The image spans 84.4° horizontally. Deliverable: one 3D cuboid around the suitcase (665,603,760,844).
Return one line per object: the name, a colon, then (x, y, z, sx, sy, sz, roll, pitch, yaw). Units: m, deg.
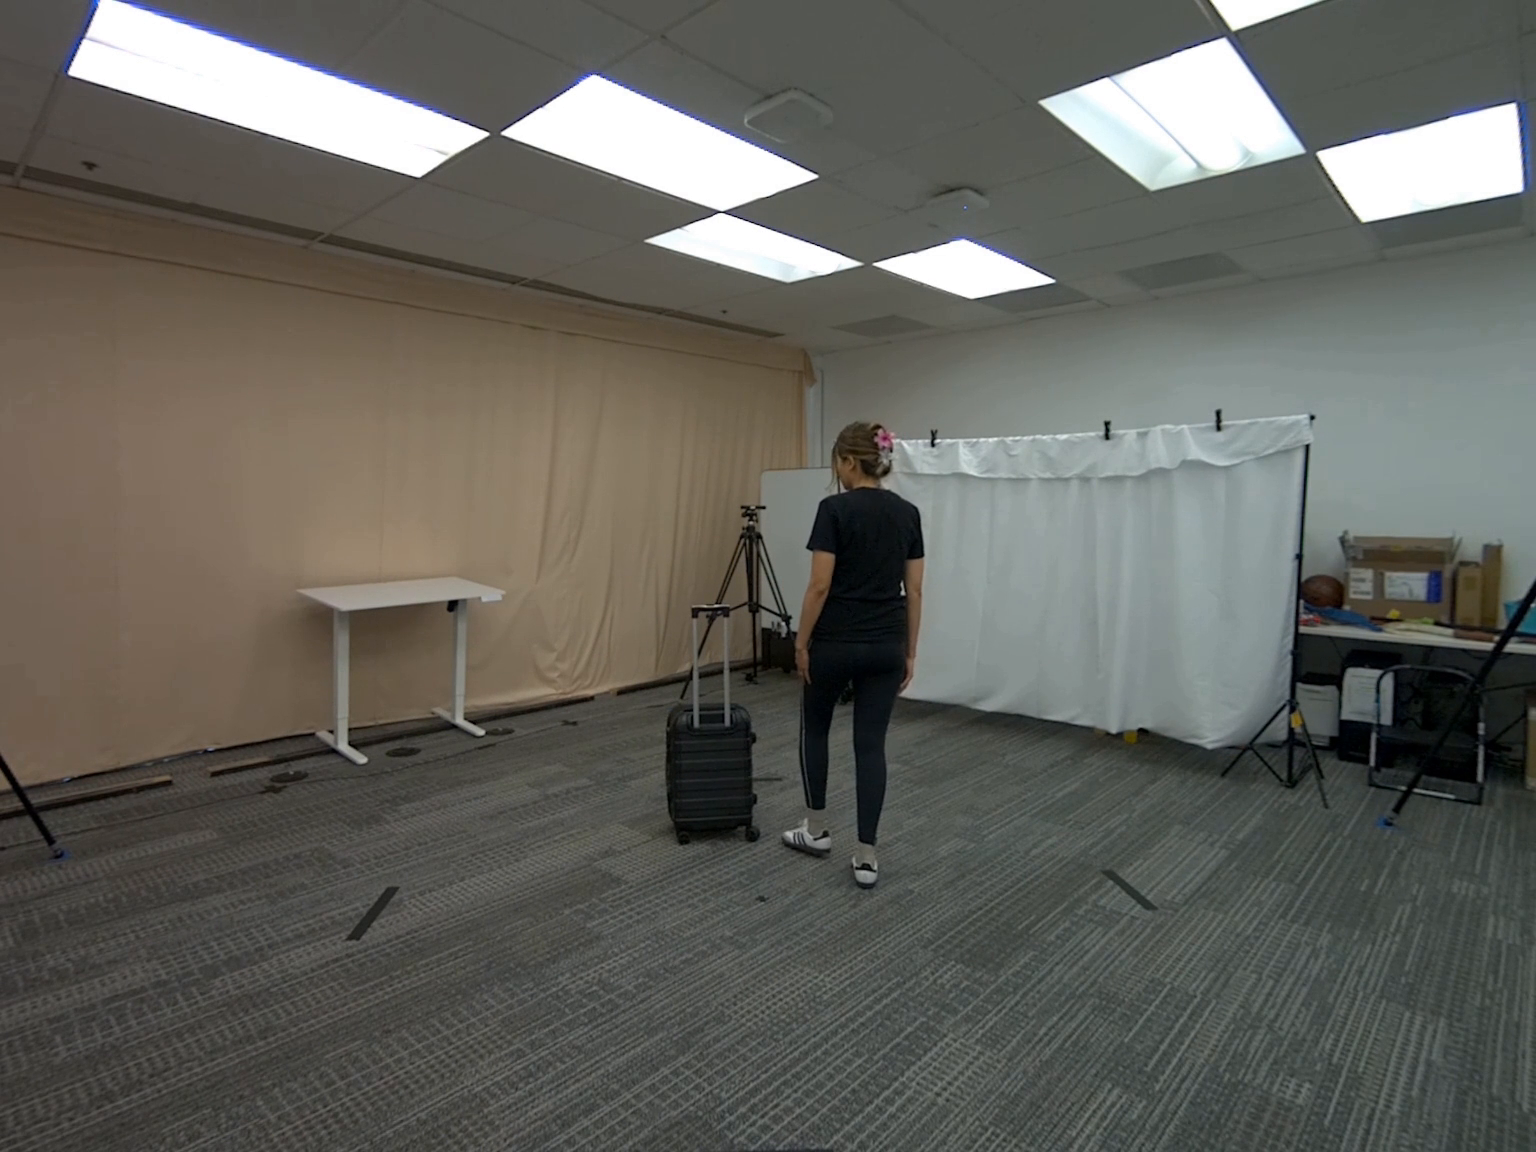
suitcase: (-0.252, 0.615, 3.585, 0.381, 0.978, 0.259, -1, 1, -7)
